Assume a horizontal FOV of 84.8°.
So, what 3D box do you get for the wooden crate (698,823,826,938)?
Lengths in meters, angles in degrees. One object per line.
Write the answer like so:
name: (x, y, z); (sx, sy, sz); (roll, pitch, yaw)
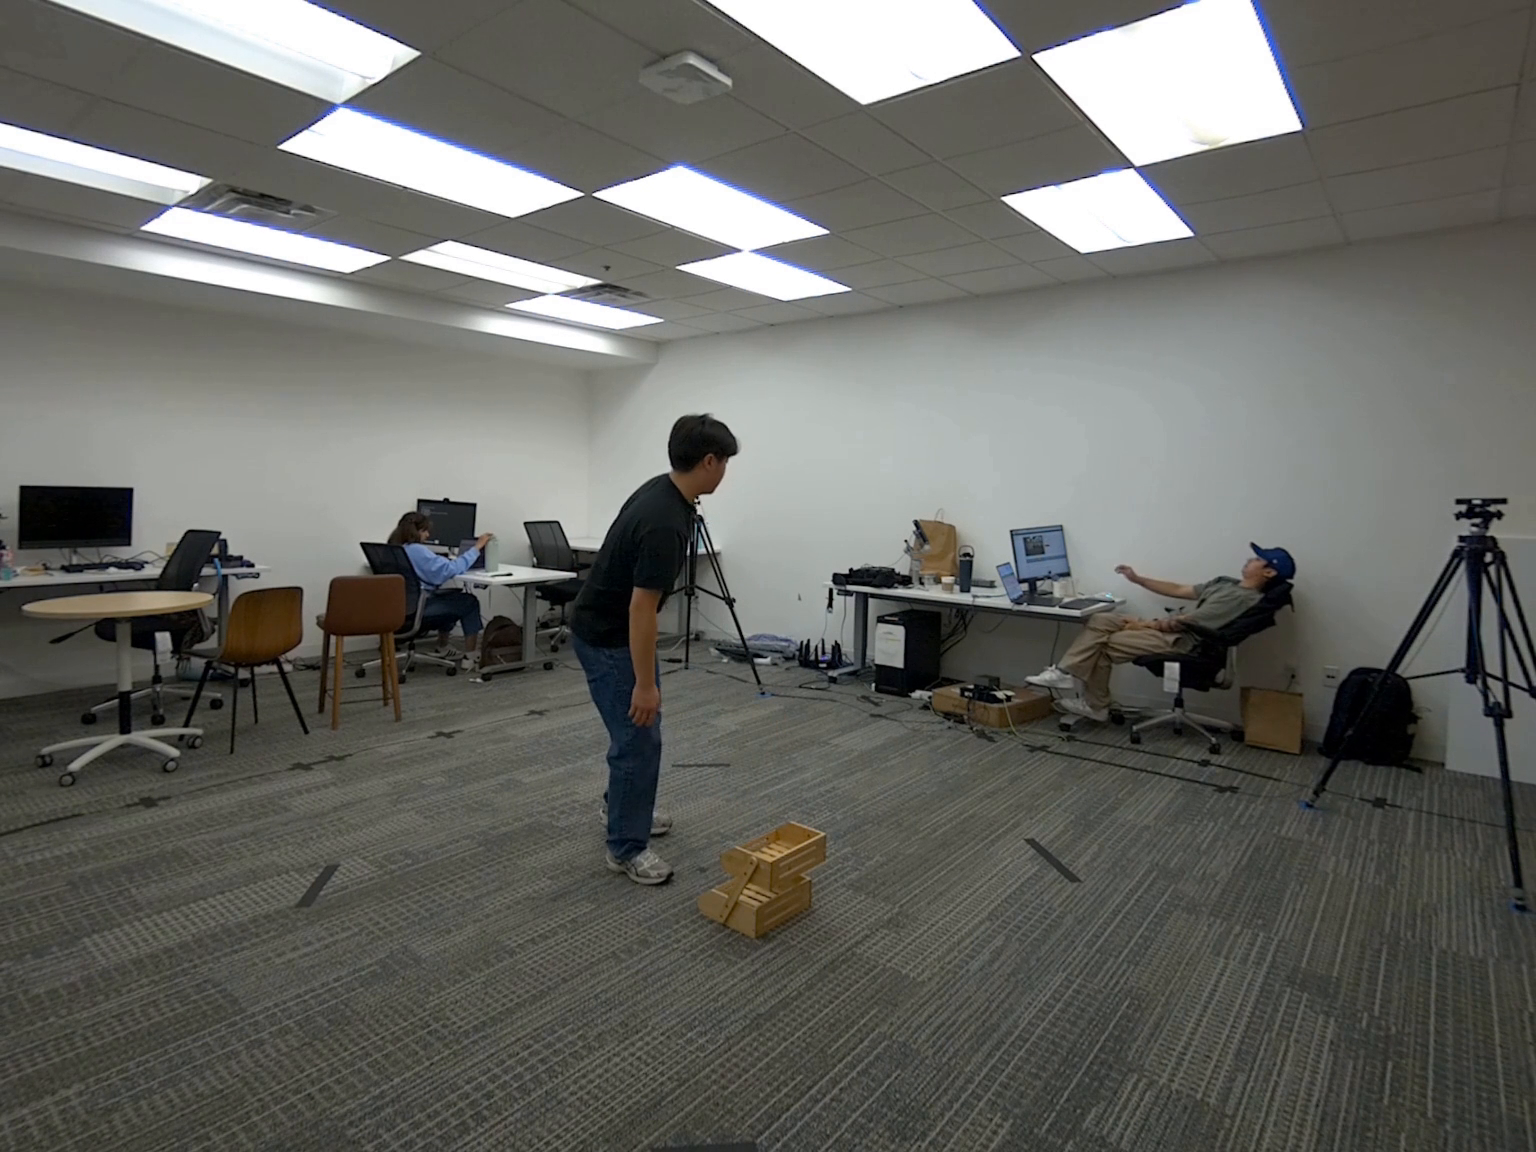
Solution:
wooden crate: (-0.028, 0.968, 2.802); (0.312, 0.272, 0.315); (5, 6, 39)
